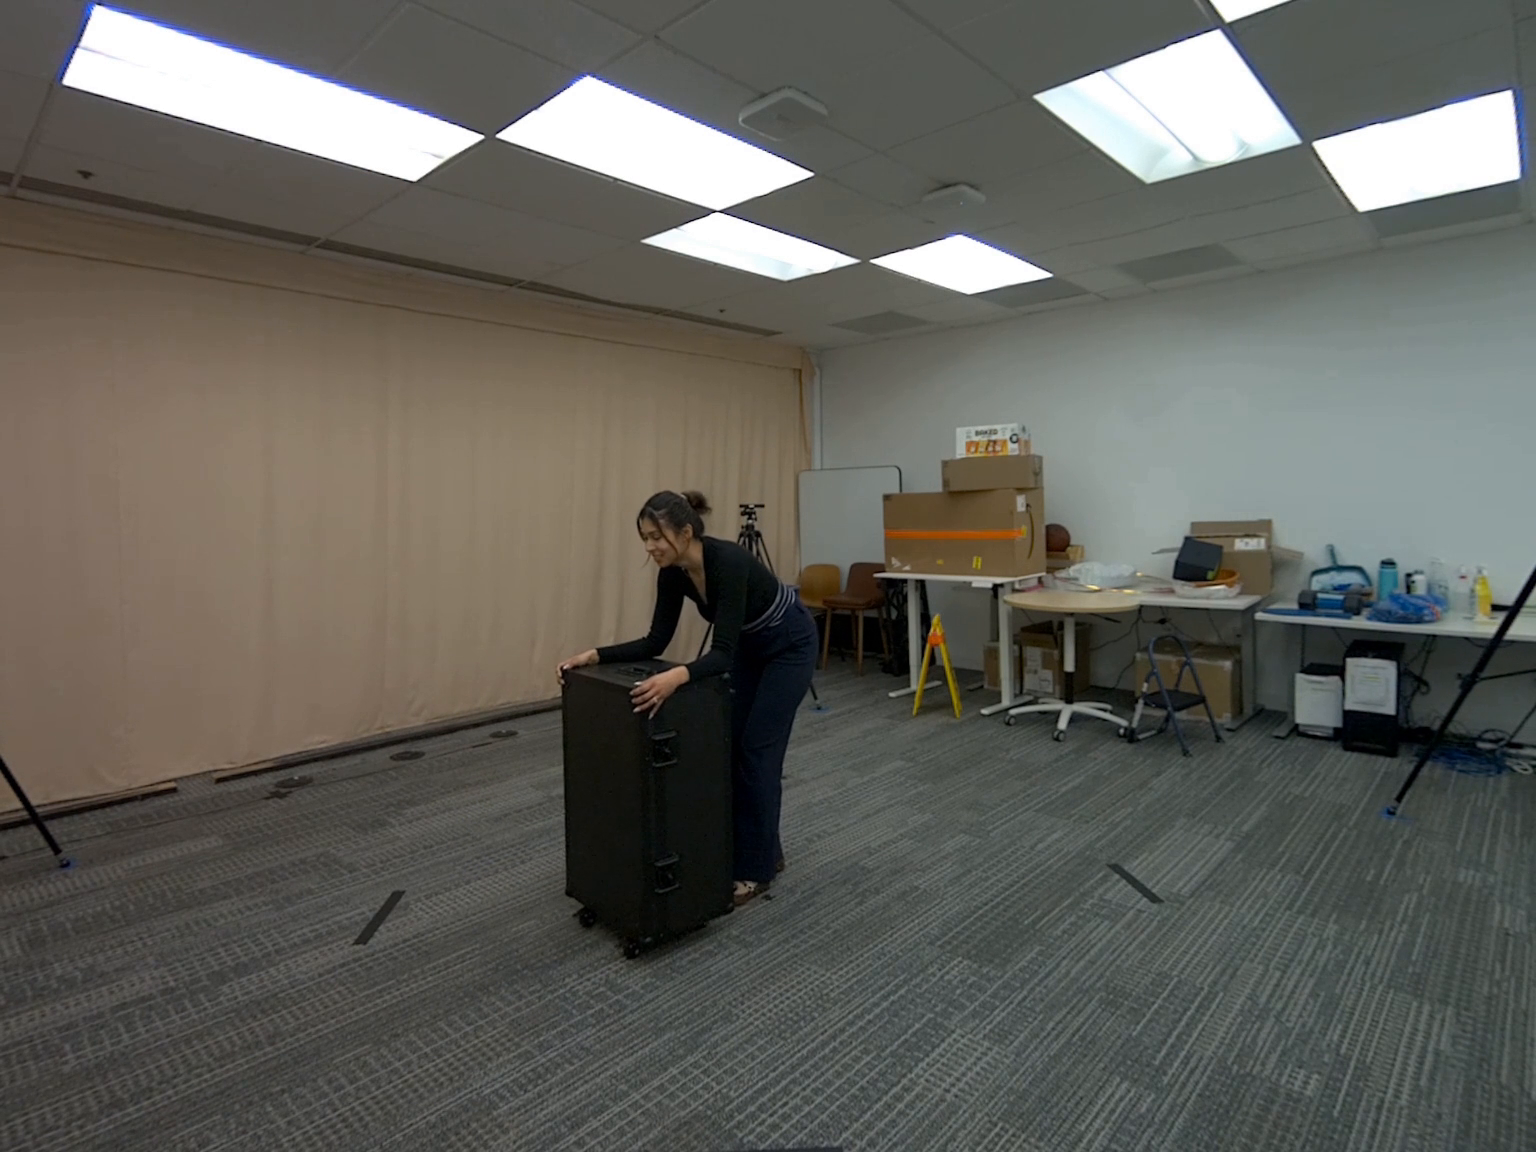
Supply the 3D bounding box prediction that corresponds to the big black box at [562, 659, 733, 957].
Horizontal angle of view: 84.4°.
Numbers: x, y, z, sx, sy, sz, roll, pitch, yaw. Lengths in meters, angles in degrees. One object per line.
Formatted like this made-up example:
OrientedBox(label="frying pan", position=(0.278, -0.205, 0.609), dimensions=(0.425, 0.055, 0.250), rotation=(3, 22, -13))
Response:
OrientedBox(label="big black box", position=(-0.403, 0.738, 2.809), dimensions=(0.384, 0.860, 0.538), rotation=(-2, 3, -40))
